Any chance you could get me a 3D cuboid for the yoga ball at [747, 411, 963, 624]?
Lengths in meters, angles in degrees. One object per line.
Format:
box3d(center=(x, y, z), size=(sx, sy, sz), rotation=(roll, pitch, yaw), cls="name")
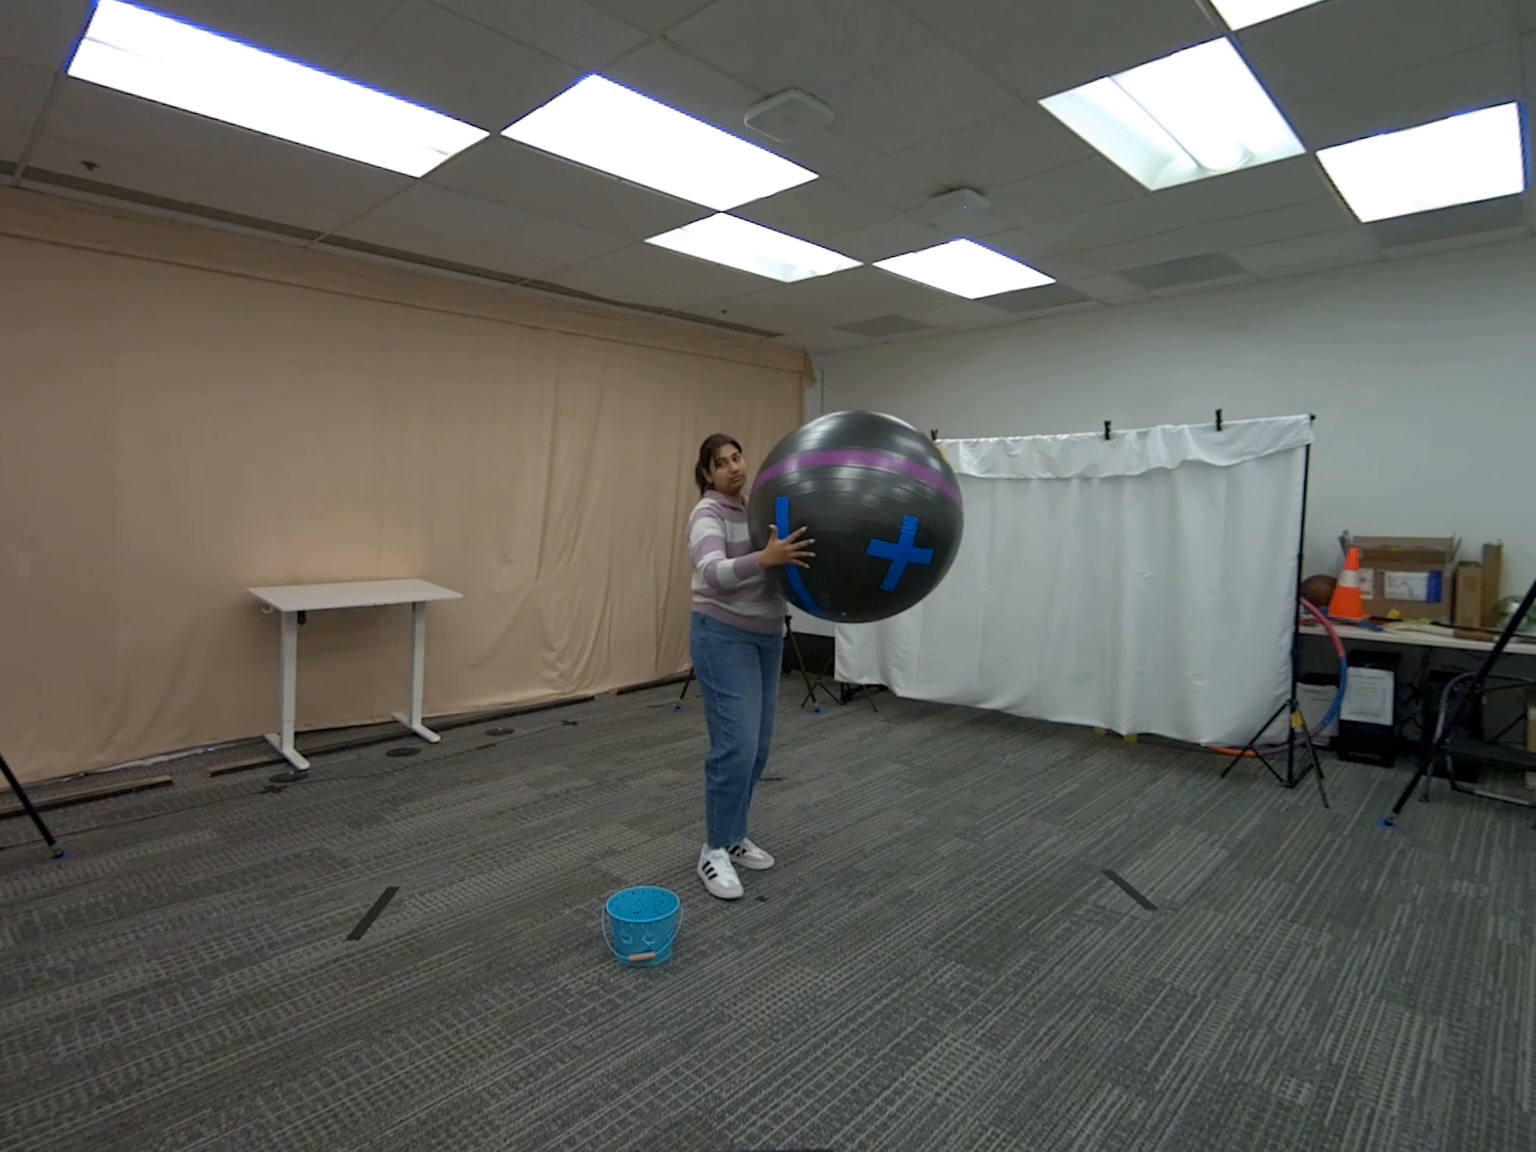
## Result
box3d(center=(0.307, -0.209, 3.010), size=(0.757, 0.756, 0.761), rotation=(0, 4, -2), cls="yoga ball")
